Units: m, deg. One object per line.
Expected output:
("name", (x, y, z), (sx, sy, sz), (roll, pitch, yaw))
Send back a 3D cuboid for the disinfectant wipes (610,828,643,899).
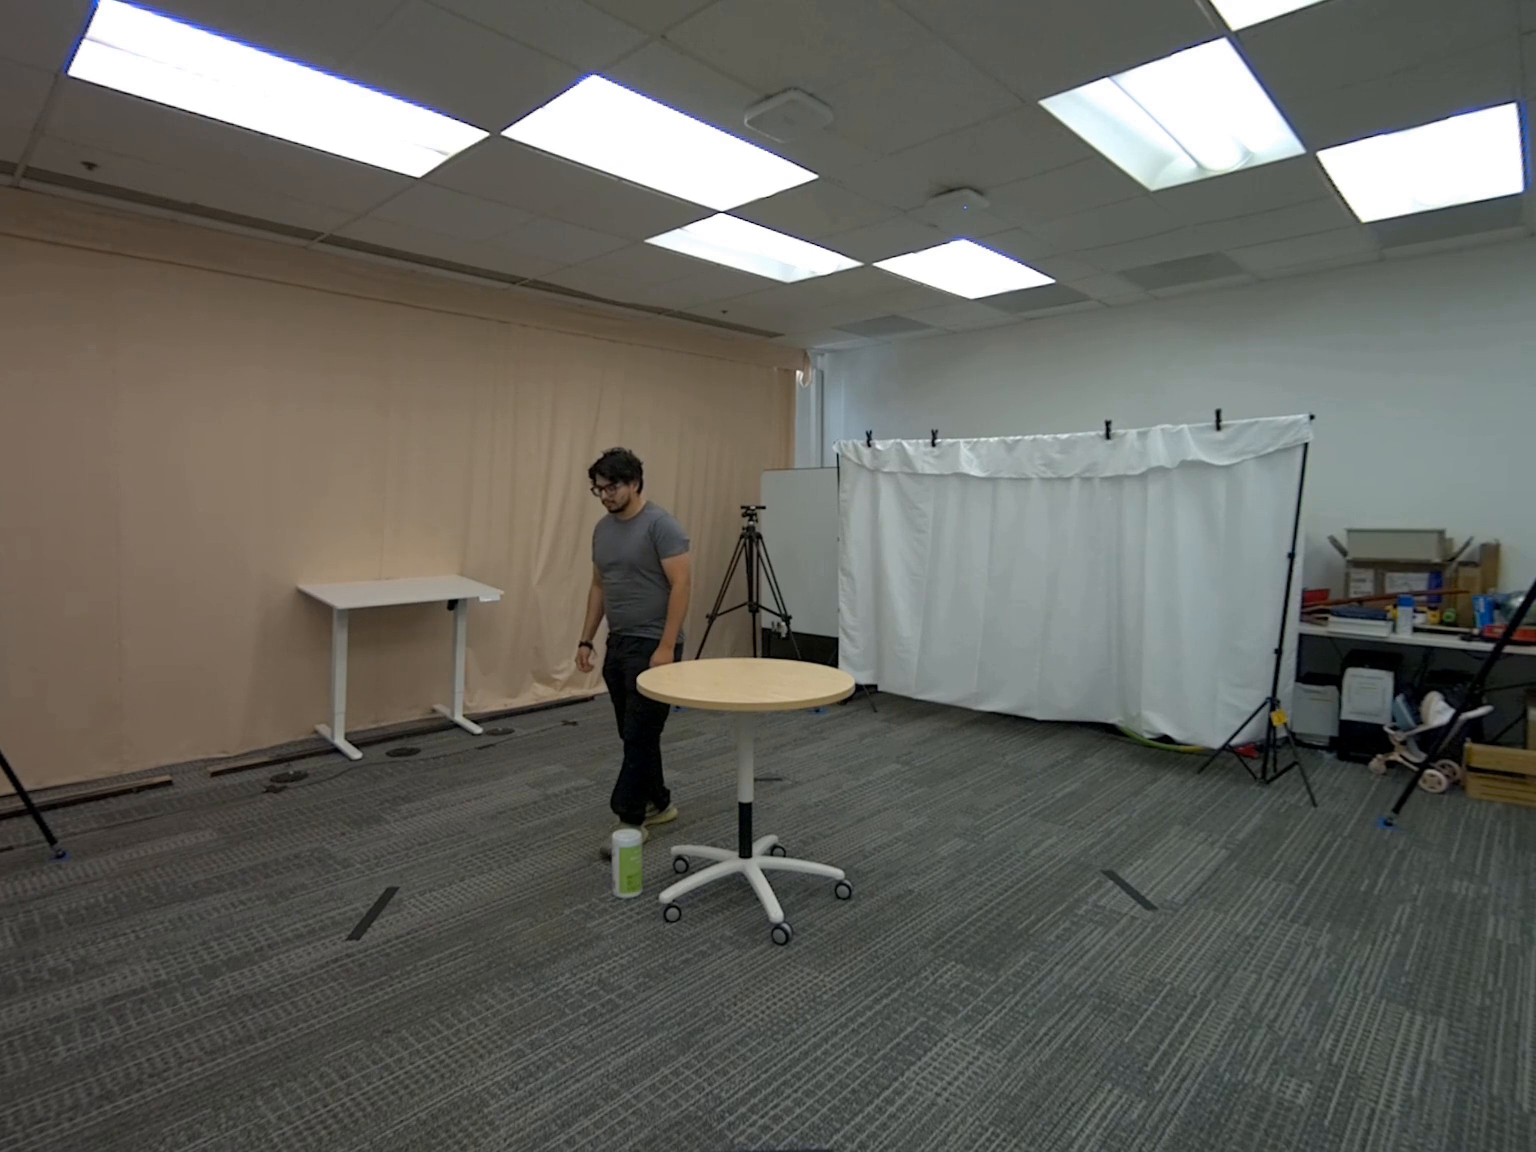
("disinfectant wipes", (-0.501, 1.032, 3.040), (0.118, 0.217, 0.118), (-1, 2, -2))
